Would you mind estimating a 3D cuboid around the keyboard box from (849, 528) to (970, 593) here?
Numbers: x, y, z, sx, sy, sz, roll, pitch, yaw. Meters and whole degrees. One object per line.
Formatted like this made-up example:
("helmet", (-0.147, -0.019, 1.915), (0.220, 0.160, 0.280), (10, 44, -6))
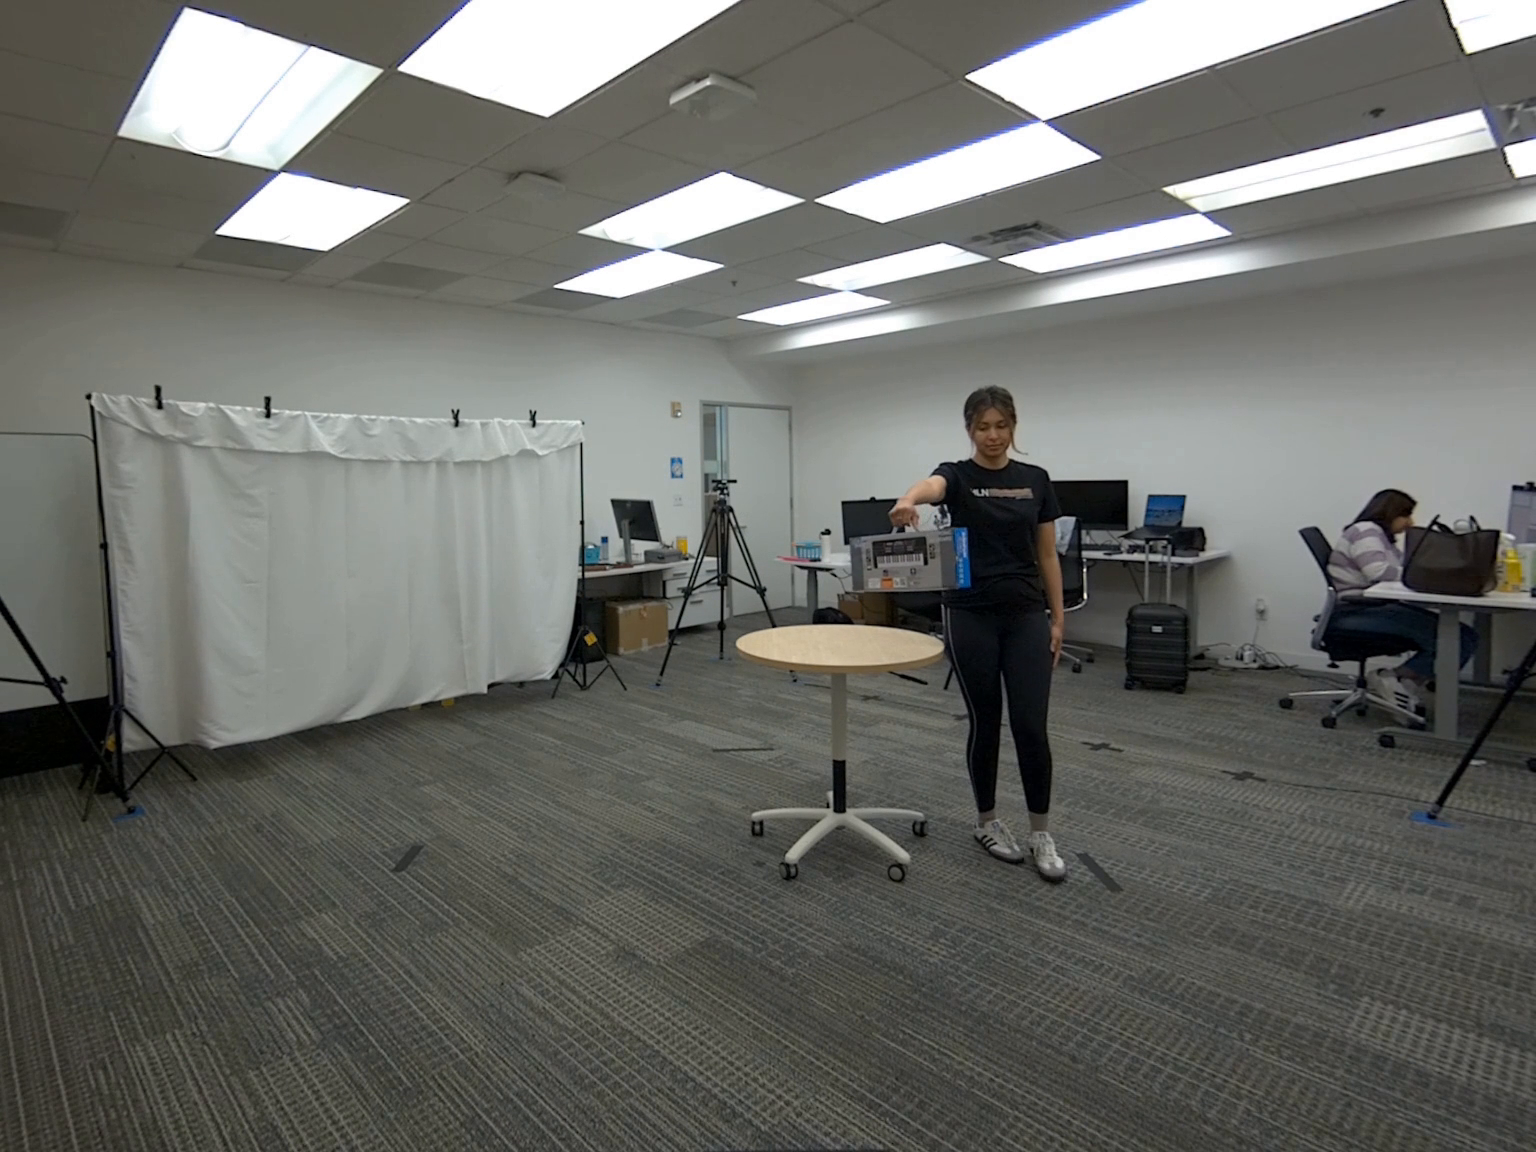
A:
("keyboard box", (0.426, -0.041, 2.617), (0.057, 0.176, 0.448), (-1, -1, -36))
